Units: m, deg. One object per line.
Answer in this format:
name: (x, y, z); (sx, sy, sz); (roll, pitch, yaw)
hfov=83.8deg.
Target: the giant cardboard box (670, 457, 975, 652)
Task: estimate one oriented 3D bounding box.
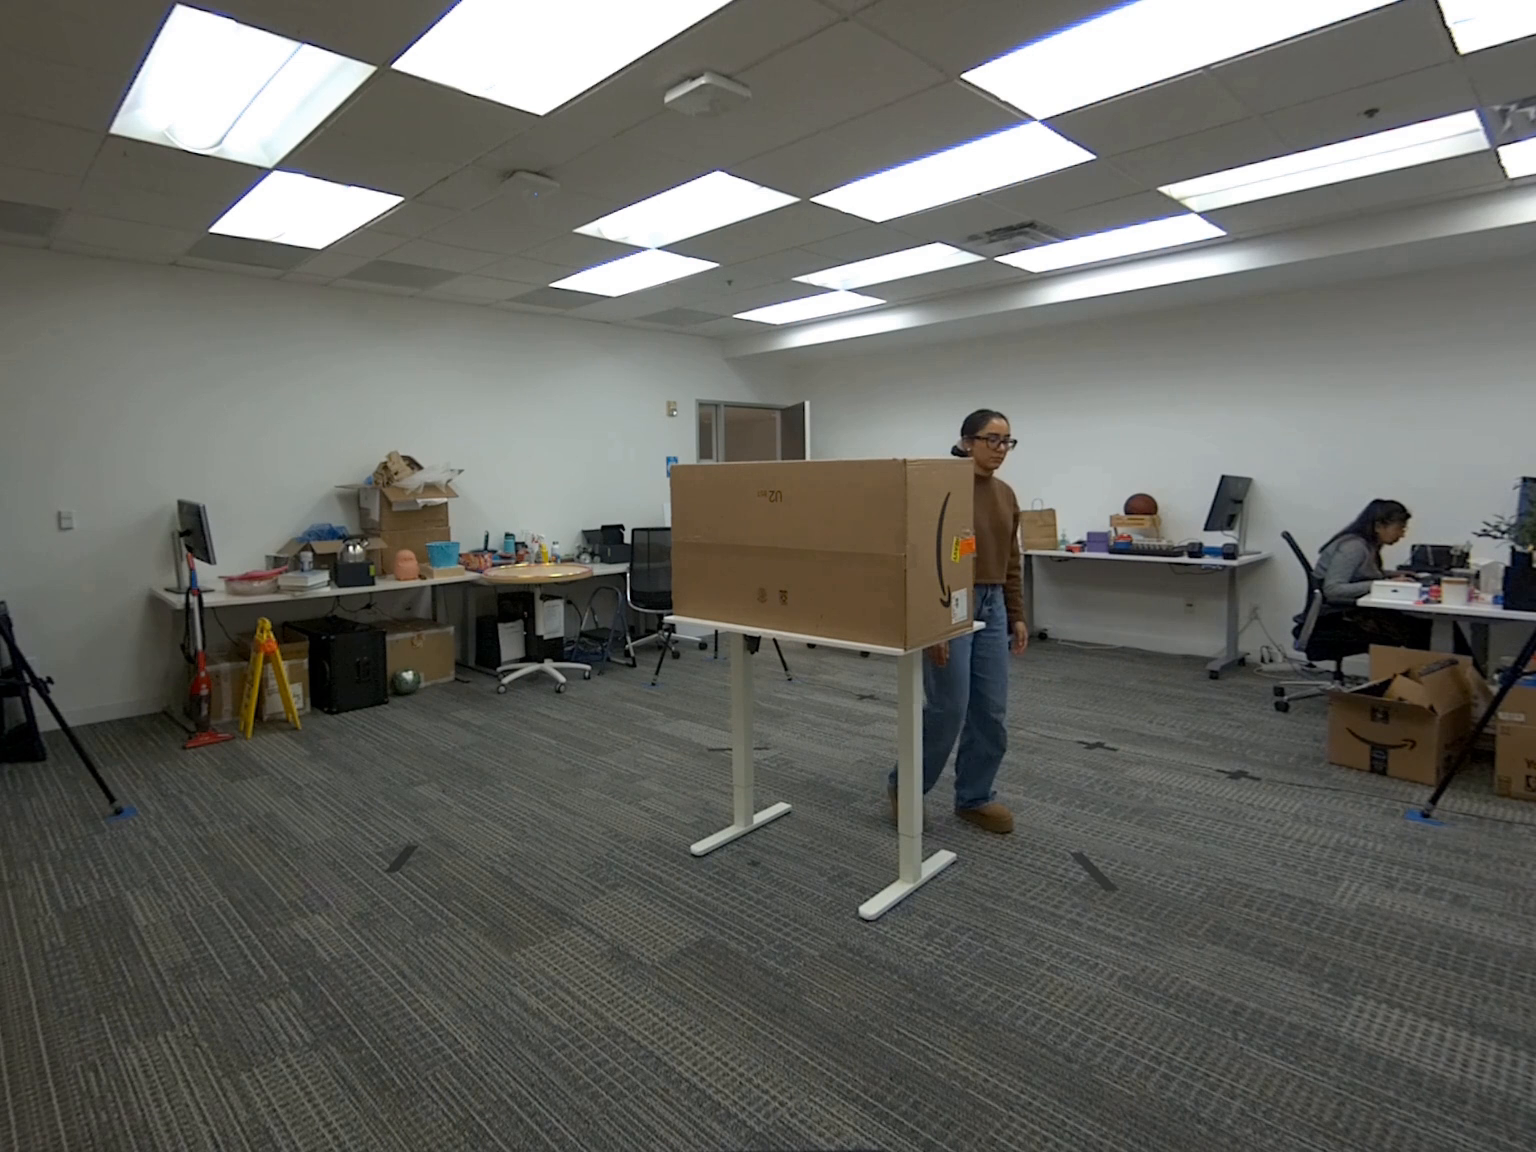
giant cardboard box: (0.164, -0.115, 3.028); (1.058, 0.575, 0.415); (5, 8, 42)
